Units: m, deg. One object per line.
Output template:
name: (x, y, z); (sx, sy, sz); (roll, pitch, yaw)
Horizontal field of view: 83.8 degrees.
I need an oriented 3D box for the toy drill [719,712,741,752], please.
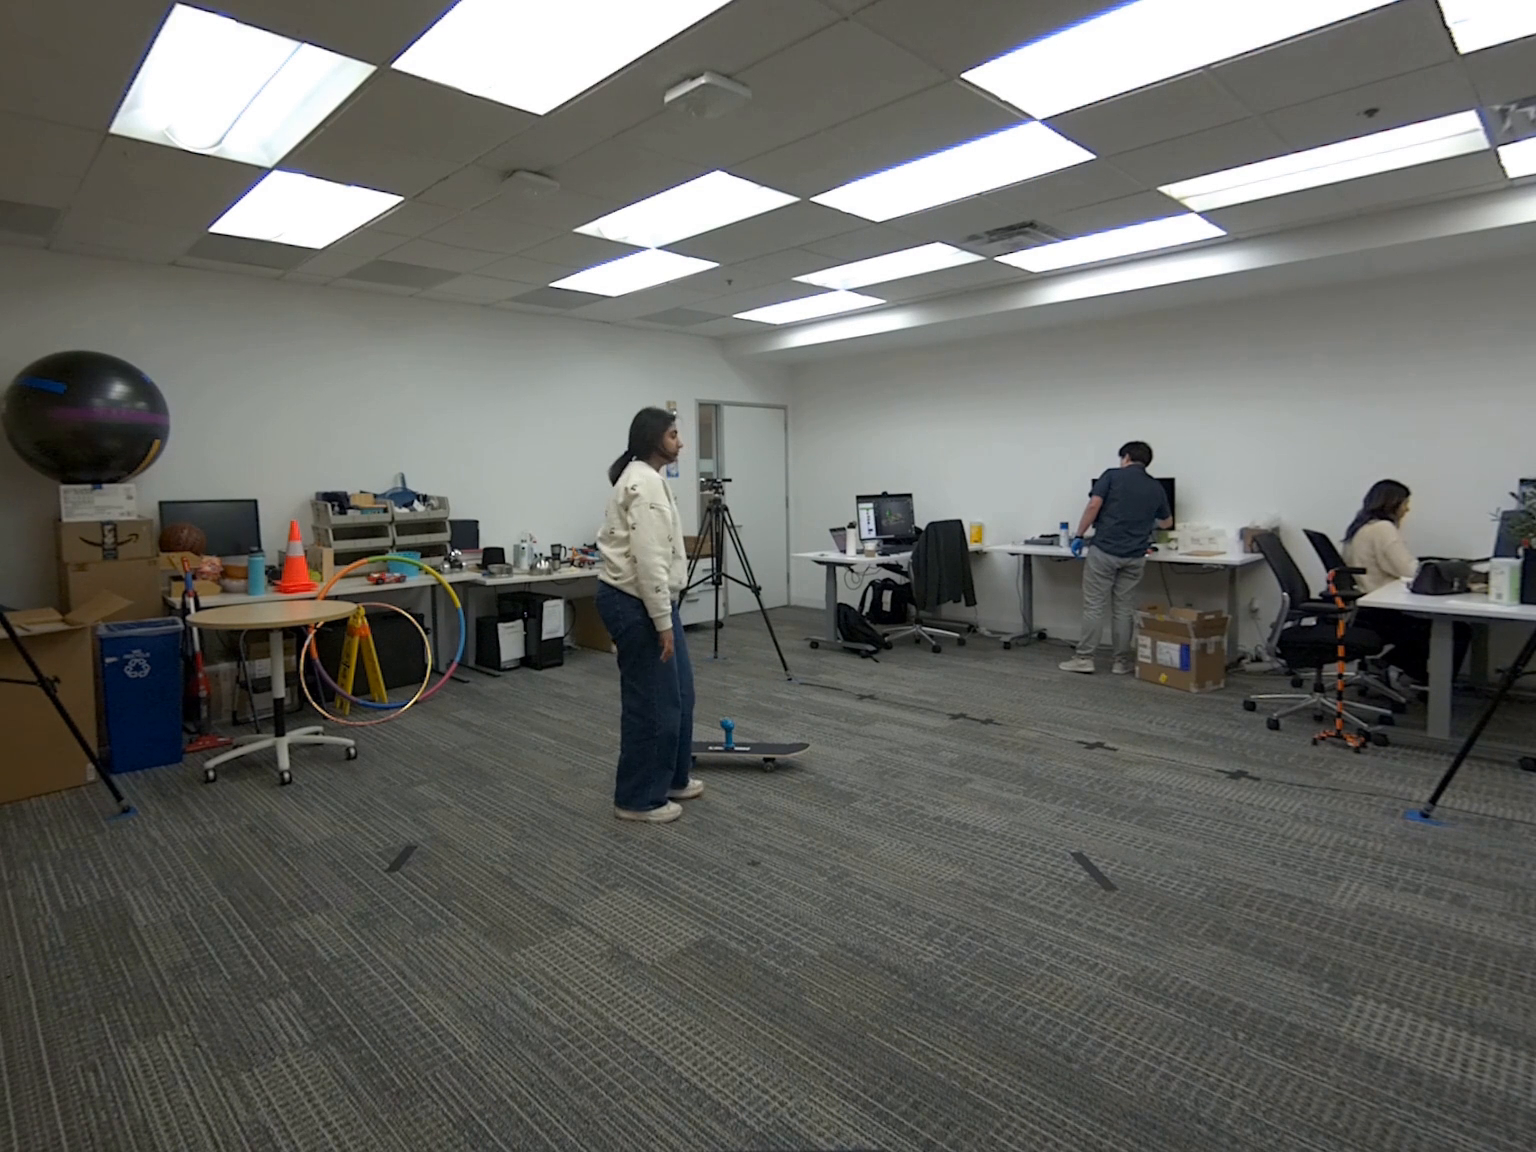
toy drill: (-0.191, 0.764, 4.216); (0.060, 0.146, 0.173); (0, 3, -17)
